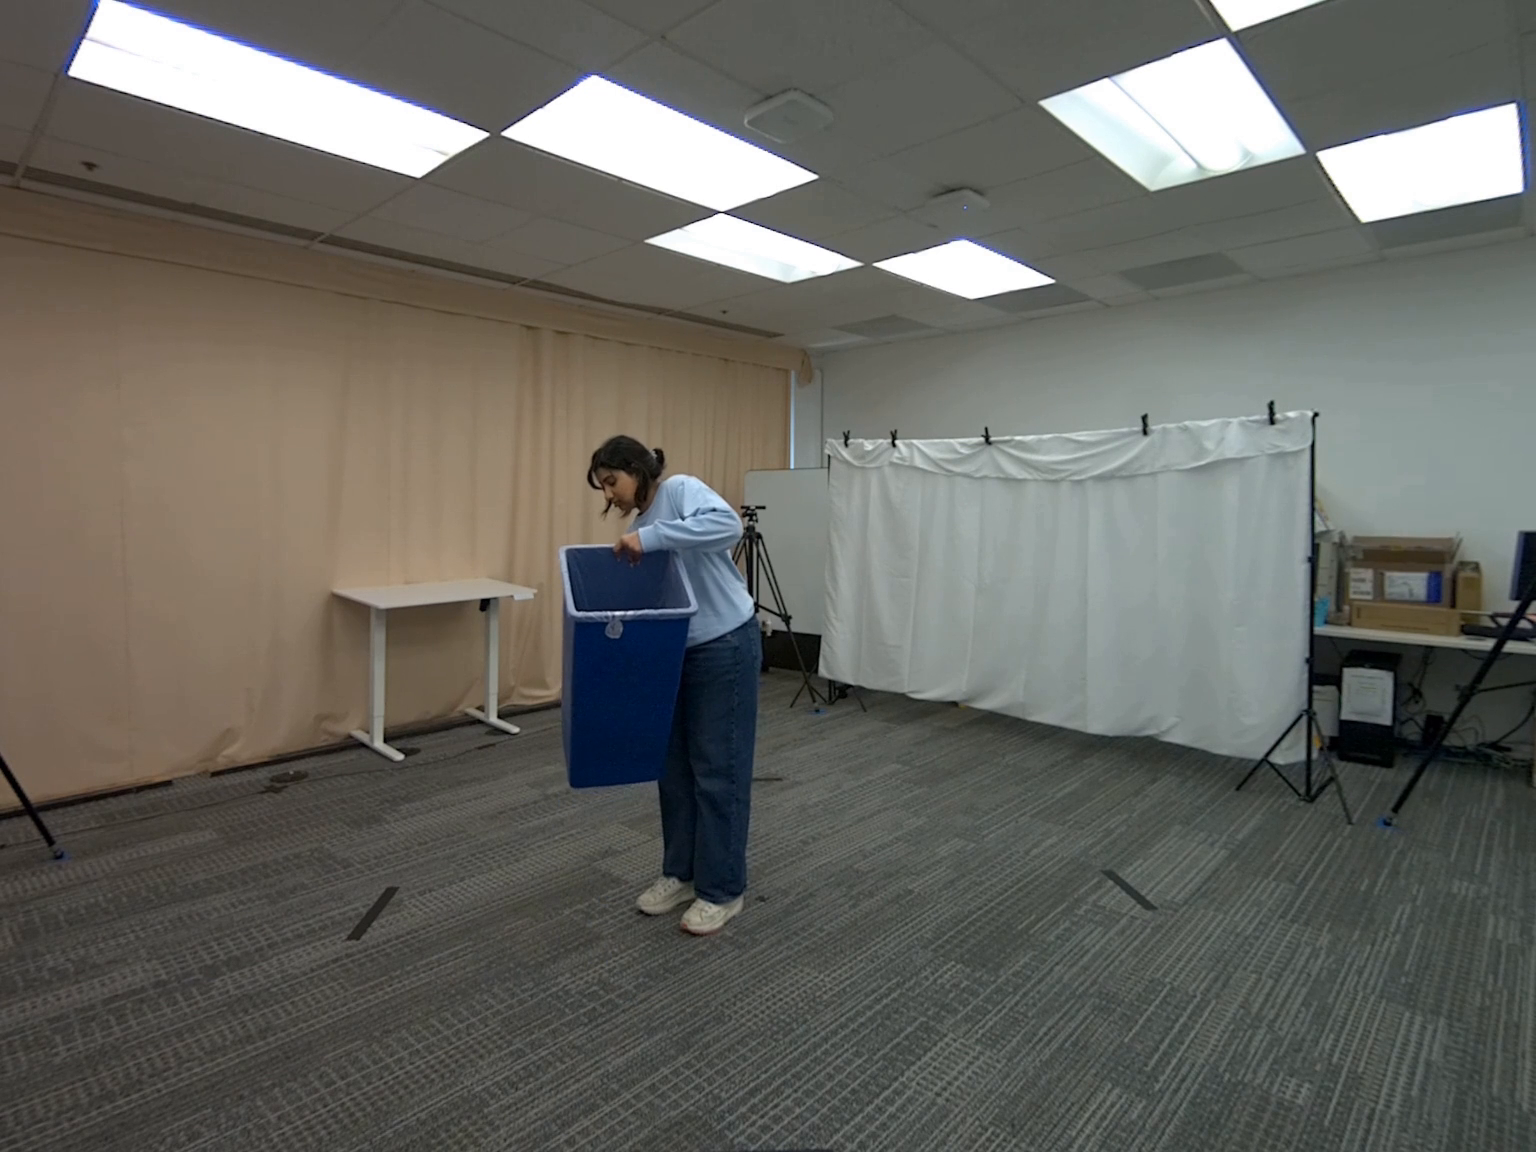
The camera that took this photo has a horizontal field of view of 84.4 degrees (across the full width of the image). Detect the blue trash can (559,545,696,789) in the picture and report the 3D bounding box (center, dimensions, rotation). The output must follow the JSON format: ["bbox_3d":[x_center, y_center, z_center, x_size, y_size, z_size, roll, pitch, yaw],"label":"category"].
[{"bbox_3d":[-0.487,0.289,2.672,0.372,0.706,0.384,2,32,-16],"label":"blue trash can"}]
